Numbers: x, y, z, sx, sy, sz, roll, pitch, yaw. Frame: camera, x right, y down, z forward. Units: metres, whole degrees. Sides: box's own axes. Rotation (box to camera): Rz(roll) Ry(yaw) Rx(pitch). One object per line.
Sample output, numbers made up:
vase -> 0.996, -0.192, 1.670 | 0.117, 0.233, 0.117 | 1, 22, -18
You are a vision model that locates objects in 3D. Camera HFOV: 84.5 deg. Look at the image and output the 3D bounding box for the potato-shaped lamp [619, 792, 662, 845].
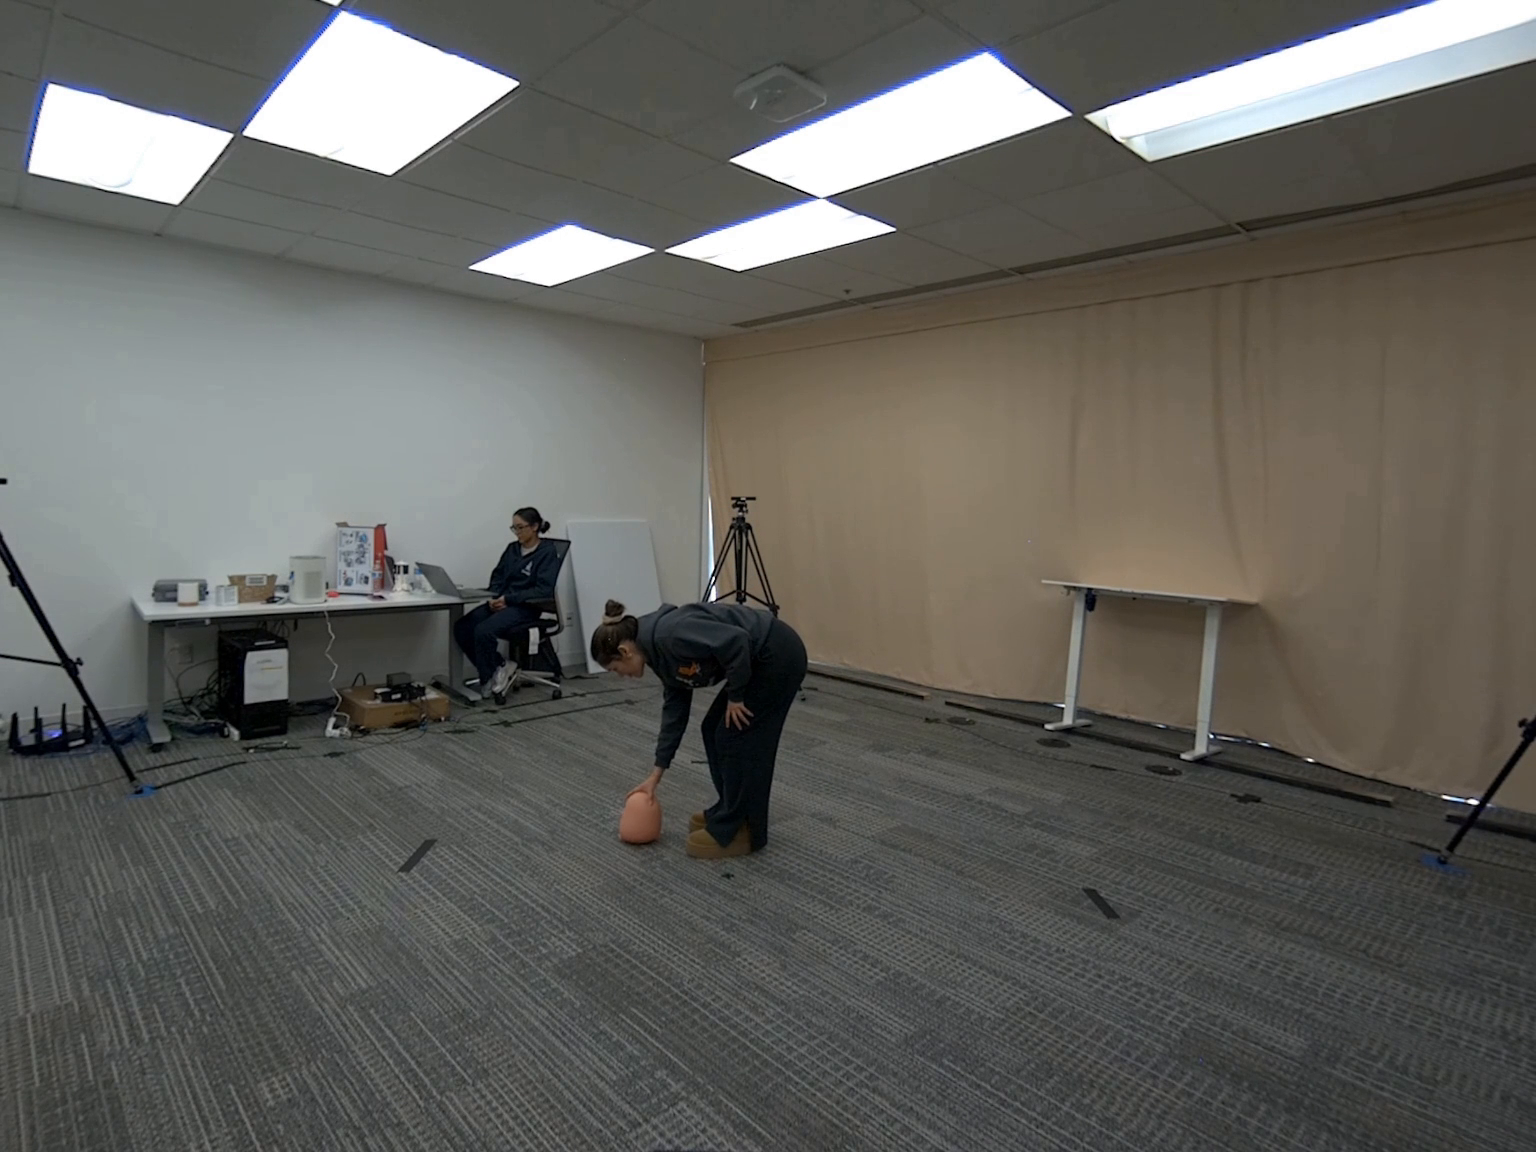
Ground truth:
potato-shaped lamp -> -0.517, 0.962, 3.410 | 0.175, 0.198, 0.160 | -2, -3, 41
